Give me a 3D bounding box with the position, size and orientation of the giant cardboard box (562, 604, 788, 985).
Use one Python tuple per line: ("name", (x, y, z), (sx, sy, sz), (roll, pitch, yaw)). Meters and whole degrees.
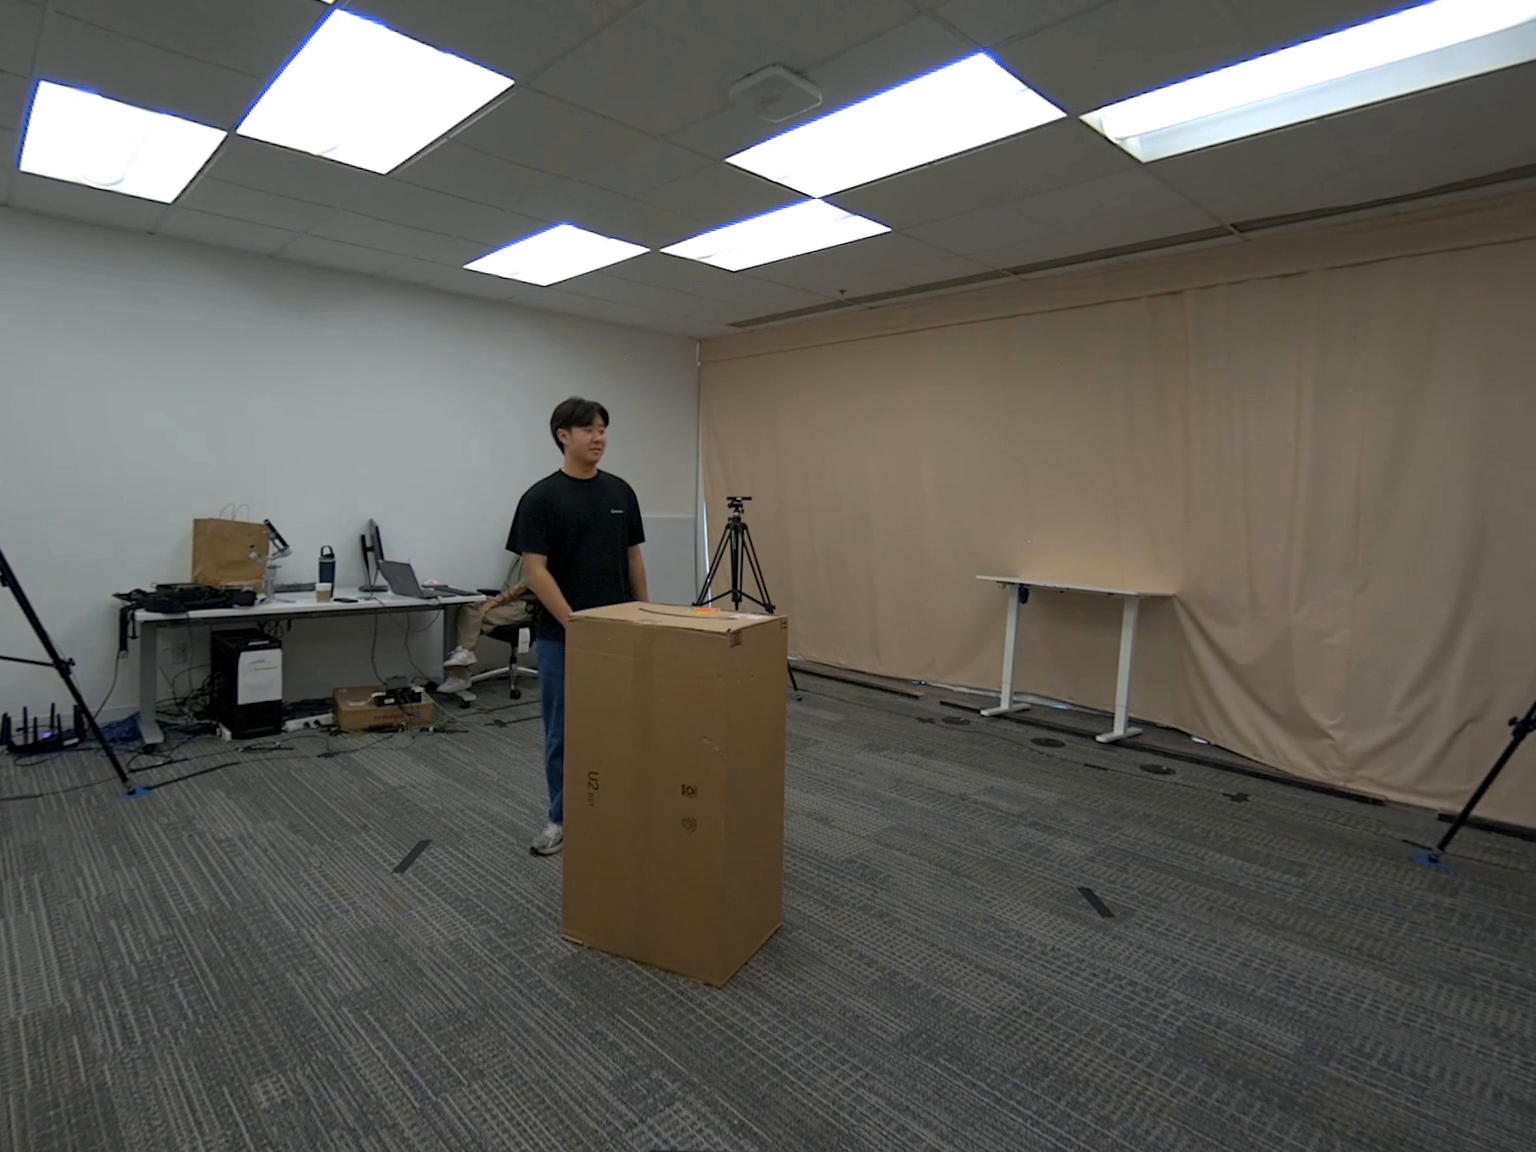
("giant cardboard box", (-0.293, 0.631, 2.678), (0.596, 1.025, 0.438), (3, 3, 28))
